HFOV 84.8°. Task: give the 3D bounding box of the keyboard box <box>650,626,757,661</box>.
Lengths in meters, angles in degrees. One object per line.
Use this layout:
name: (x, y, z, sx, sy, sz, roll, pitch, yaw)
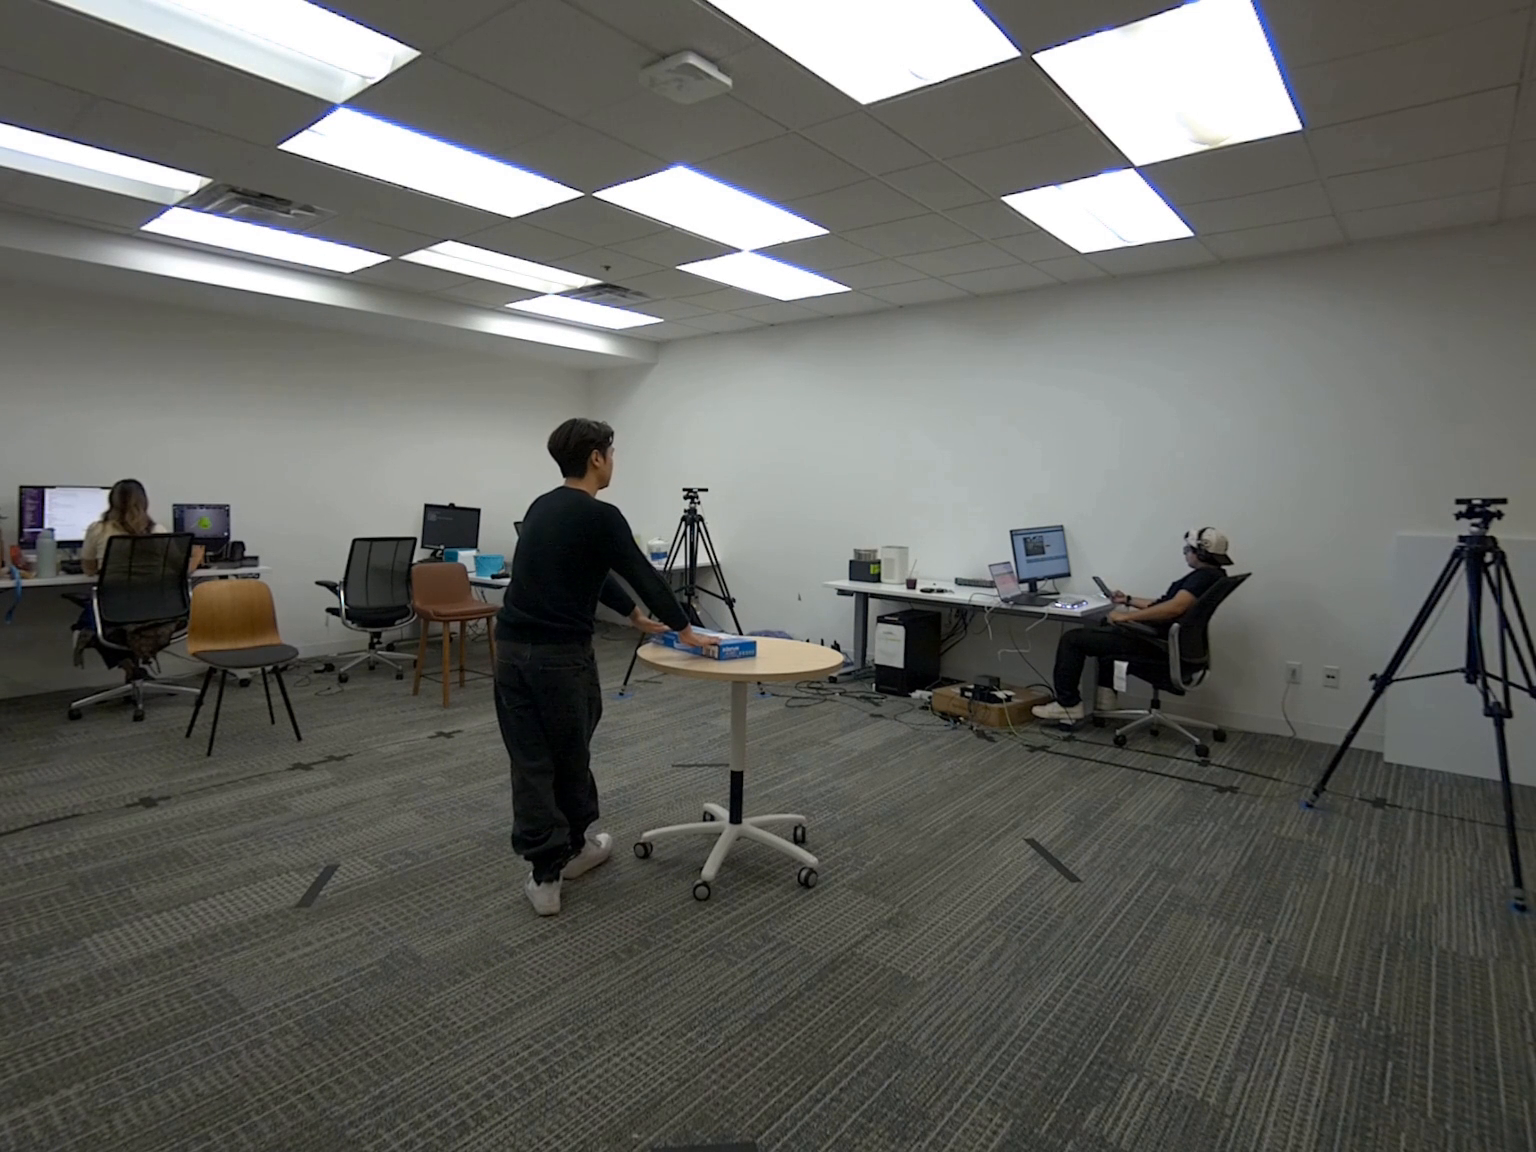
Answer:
keyboard box: (-0.259, 0.245, 3.235, 0.171, 0.059, 0.452, -4, 7, -41)
